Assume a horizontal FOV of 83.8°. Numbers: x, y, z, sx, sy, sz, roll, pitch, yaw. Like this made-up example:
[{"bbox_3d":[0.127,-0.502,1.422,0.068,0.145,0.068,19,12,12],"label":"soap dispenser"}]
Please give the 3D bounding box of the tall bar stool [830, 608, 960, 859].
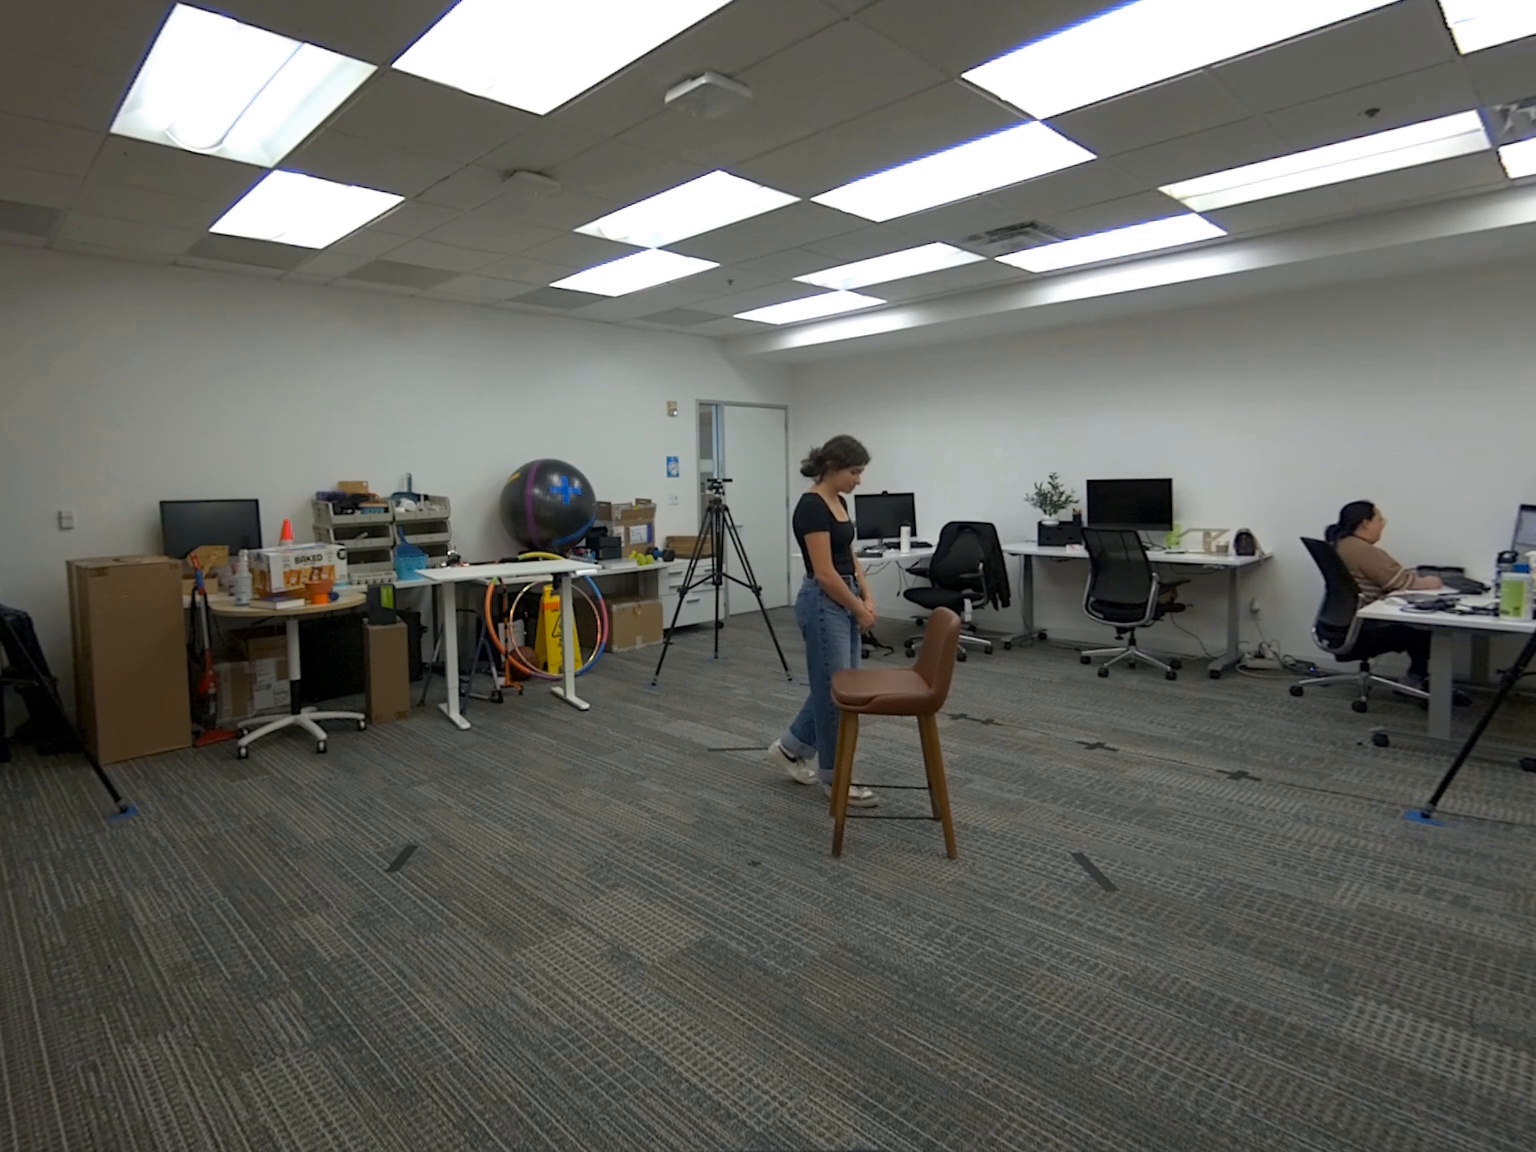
[{"bbox_3d":[0.476,0.580,3.298,0.470,0.887,0.456,1,4,4],"label":"tall bar stool"}]
